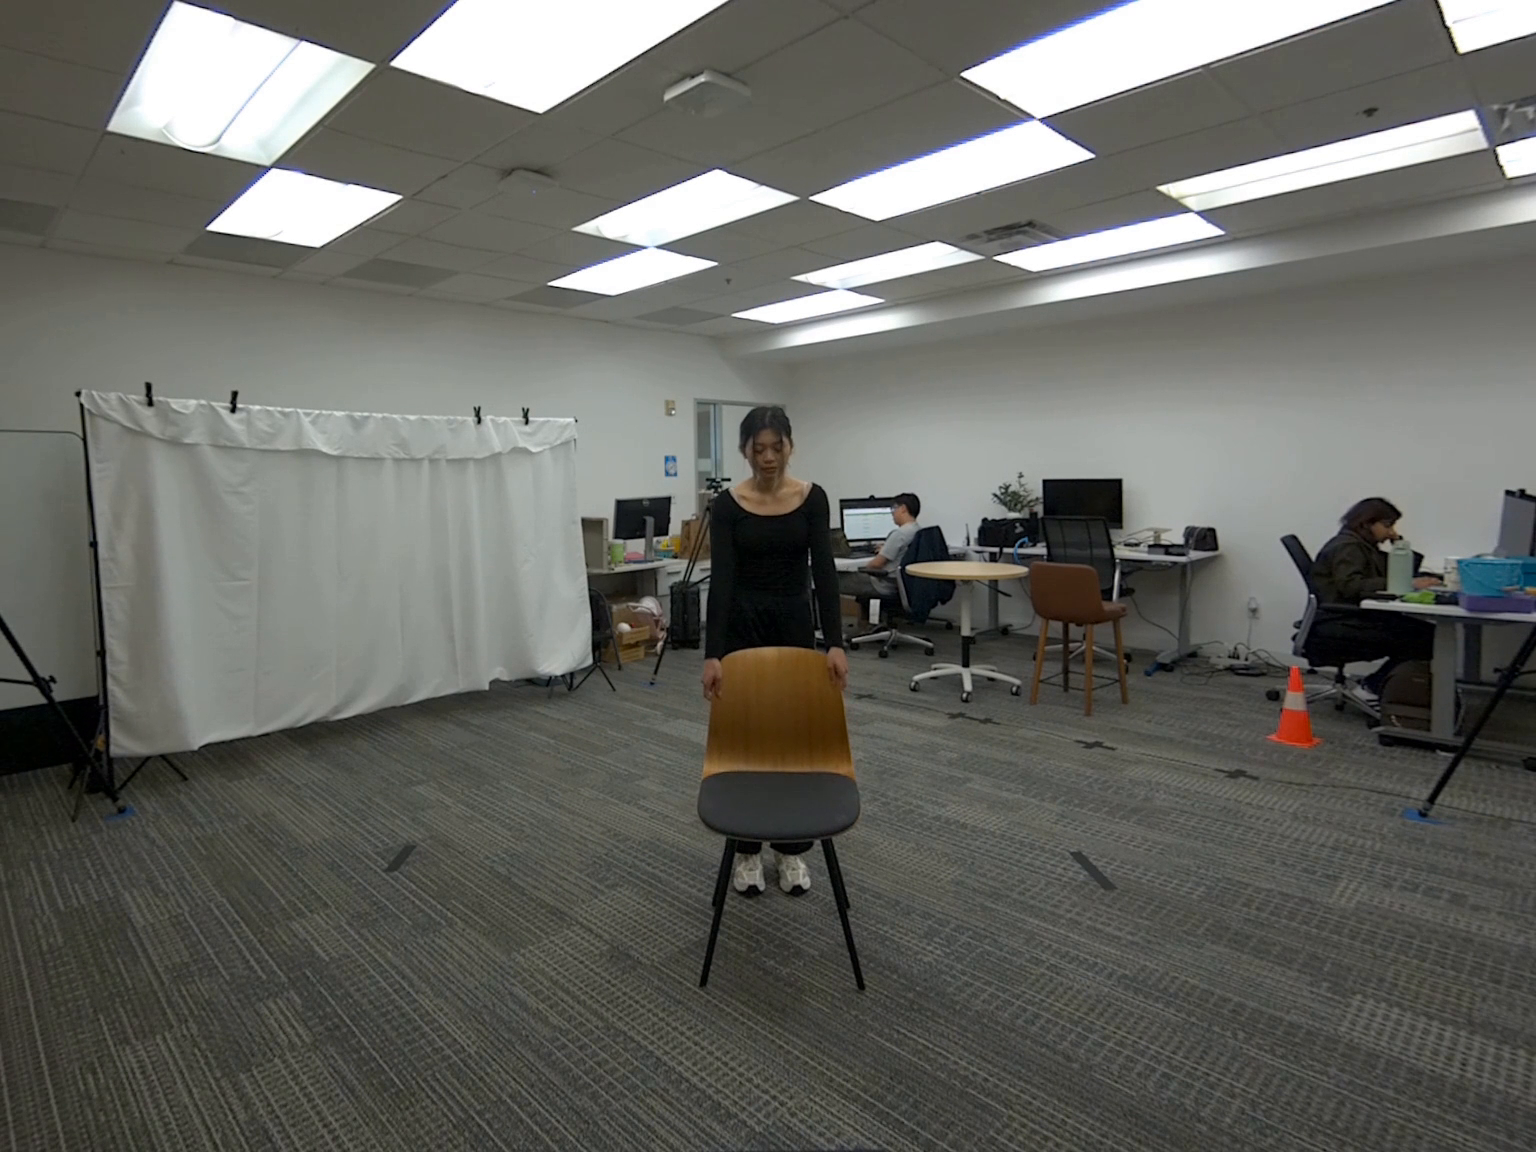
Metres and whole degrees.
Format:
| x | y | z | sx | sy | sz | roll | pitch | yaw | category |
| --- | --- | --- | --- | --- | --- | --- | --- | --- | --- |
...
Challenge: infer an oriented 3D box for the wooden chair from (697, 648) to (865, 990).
| x | y | z | sx | sy | sz | roll | pitch | yaw | category |
| --- | --- | --- | --- | --- | --- | --- | --- | --- | --- |
| 0.037 | 0.686 | 2.516 | 0.479 | 0.878 | 0.522 | 0 | 0 | 2 | wooden chair |
